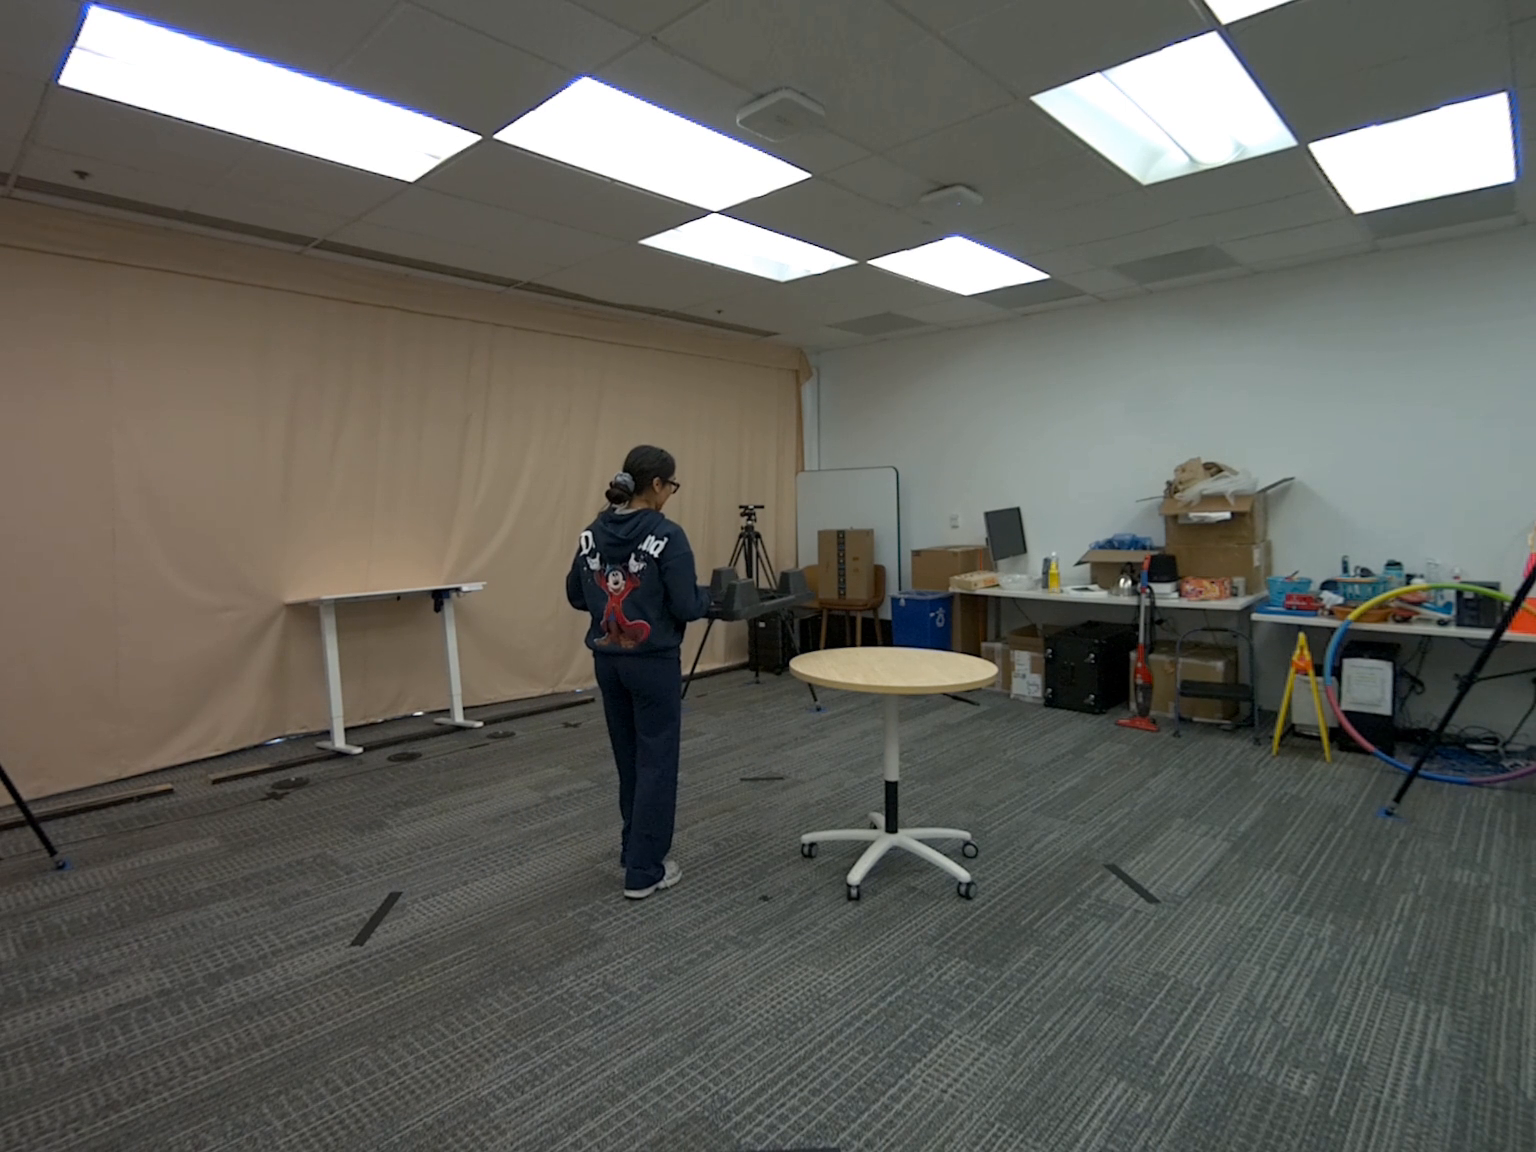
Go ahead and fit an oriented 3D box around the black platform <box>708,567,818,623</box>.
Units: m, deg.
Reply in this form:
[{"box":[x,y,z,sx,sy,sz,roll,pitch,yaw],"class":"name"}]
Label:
[{"box":[-0.271,0.056,3.479,0.830,0.143,0.589,2,8,34],"class":"black platform"}]
